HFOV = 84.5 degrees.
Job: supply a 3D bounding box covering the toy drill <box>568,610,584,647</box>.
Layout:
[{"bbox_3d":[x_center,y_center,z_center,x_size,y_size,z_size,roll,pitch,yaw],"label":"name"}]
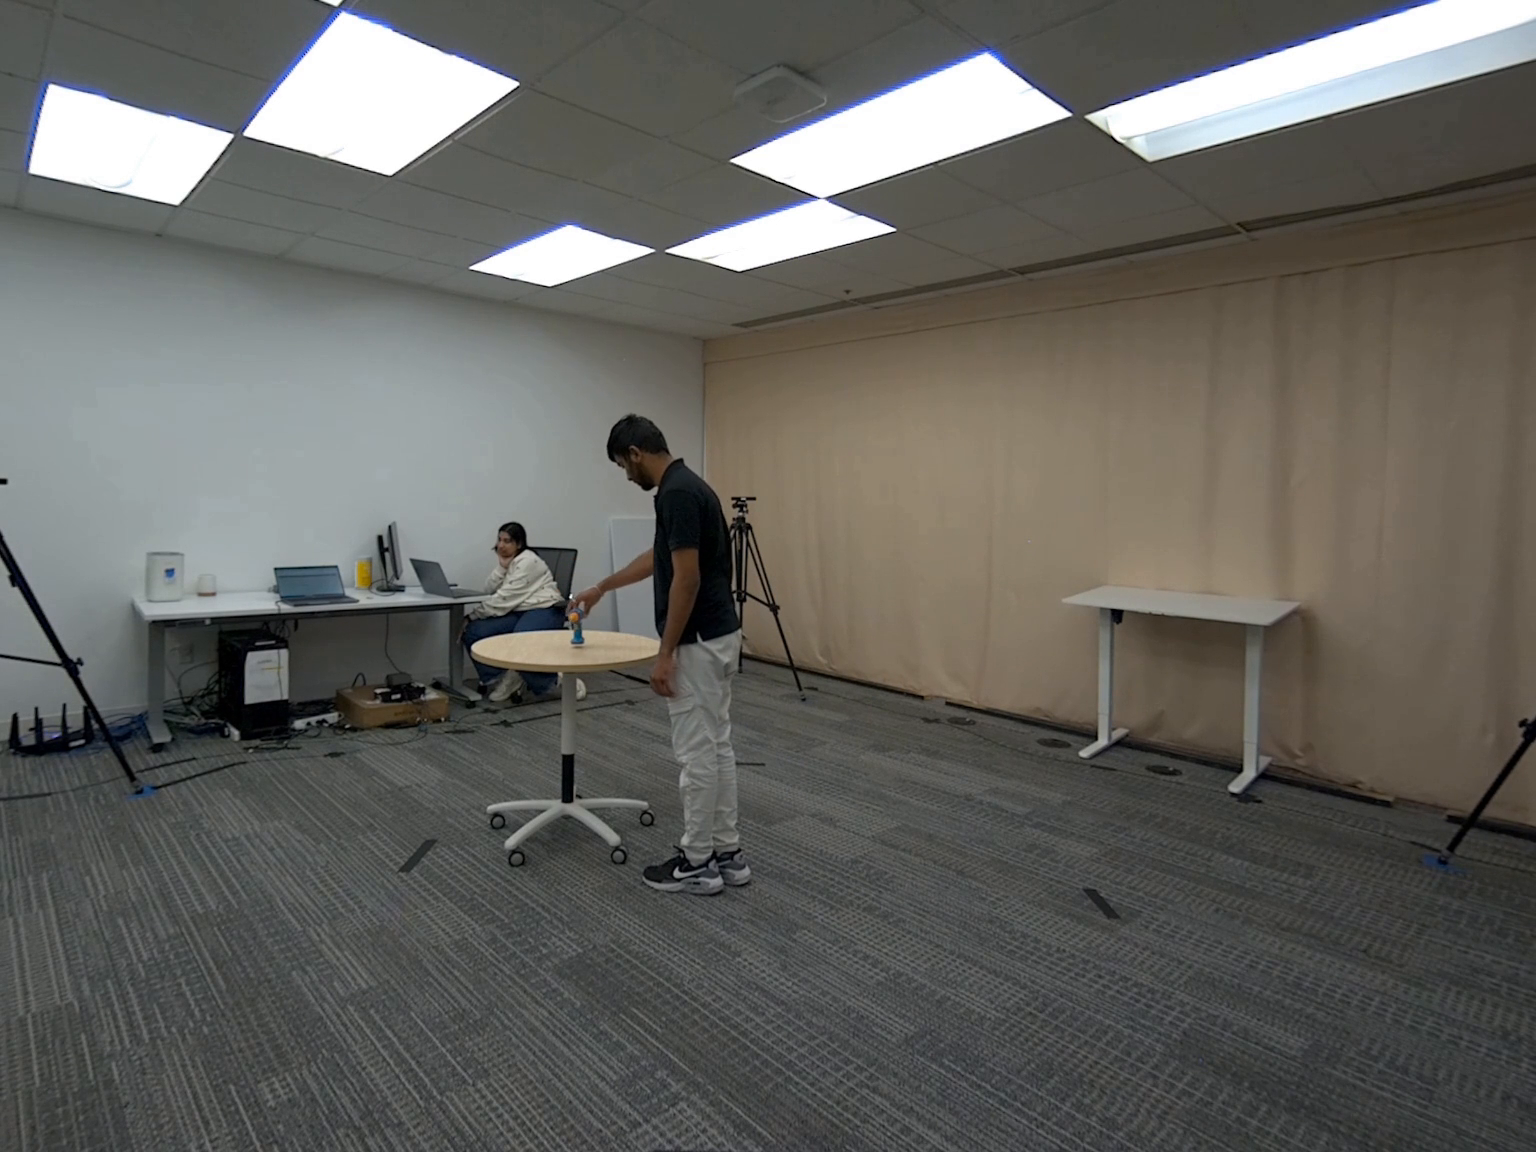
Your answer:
[{"bbox_3d":[-0.780,0.202,3.338,0.061,0.146,0.169,0,2,4],"label":"toy drill"}]
